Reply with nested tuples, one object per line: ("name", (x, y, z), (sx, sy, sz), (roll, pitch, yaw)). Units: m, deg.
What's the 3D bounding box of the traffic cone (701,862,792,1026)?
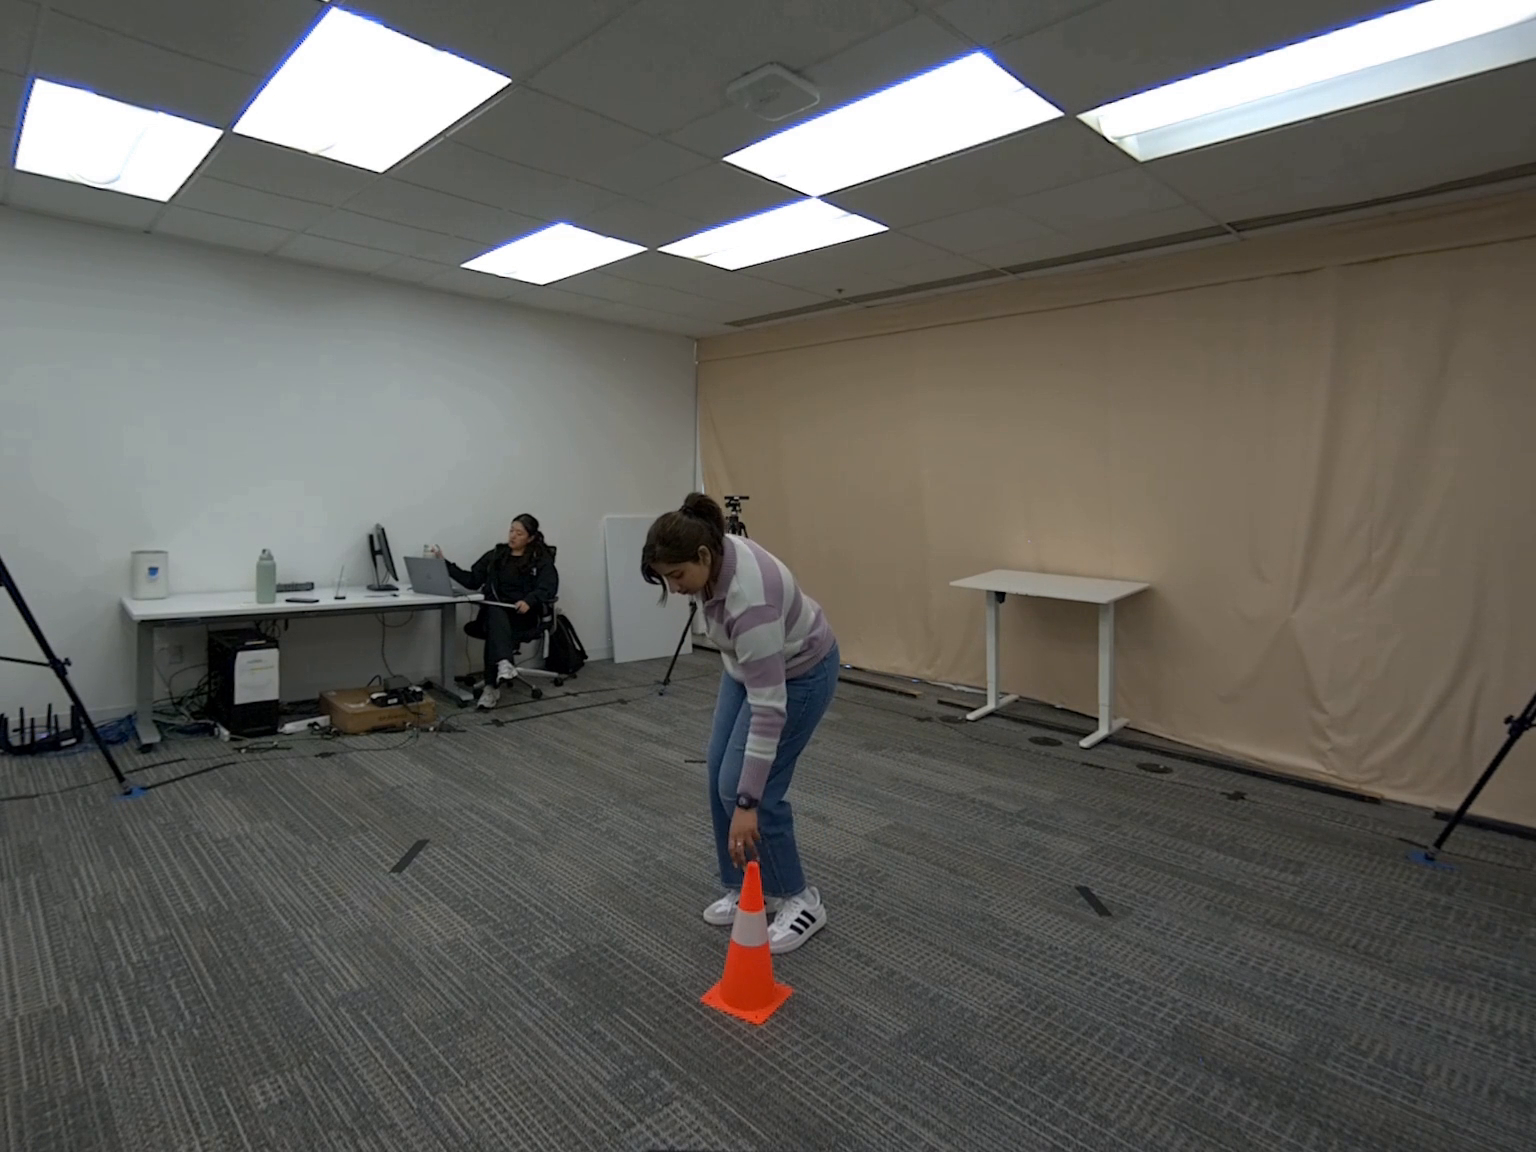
("traffic cone", (-0.052, 0.995, 2.345), (0.208, 0.383, 0.200), (6, 5, 33))
